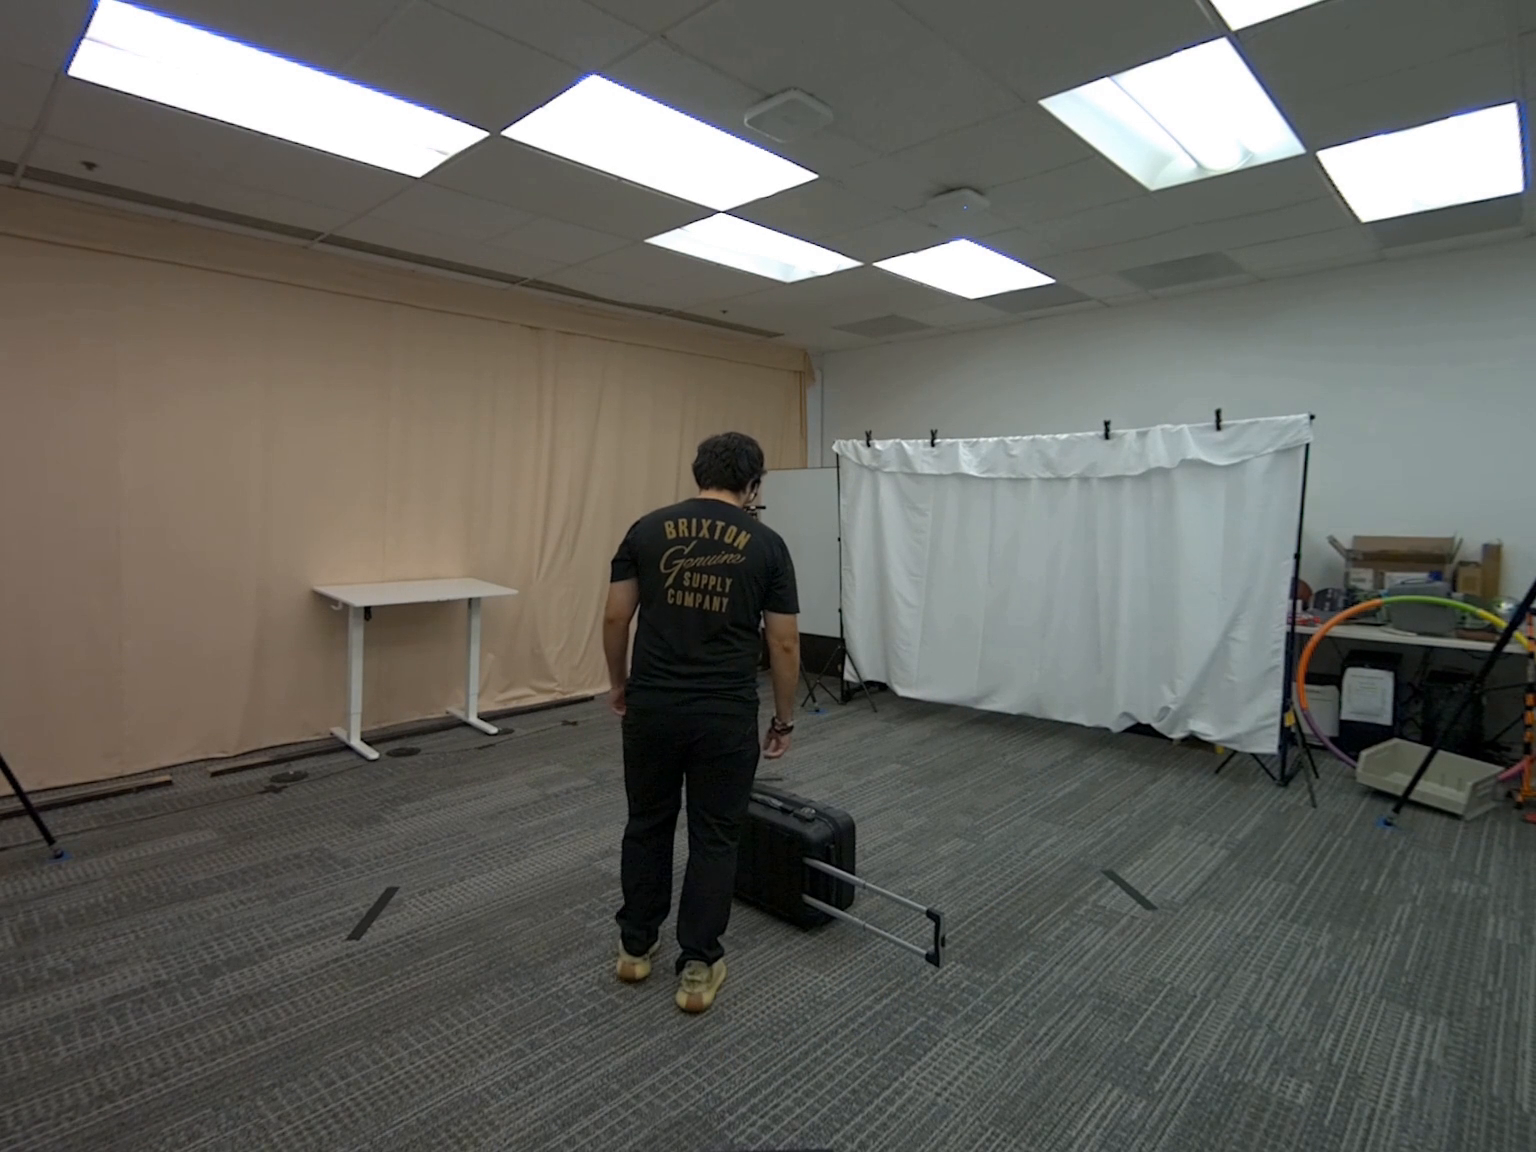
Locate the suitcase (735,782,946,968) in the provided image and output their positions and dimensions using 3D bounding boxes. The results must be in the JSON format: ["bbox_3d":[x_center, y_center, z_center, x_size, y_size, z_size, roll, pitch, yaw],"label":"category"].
[{"bbox_3d":[0.200,0.971,2.798,1.012,0.383,0.249,5,6,43],"label":"suitcase"}]
